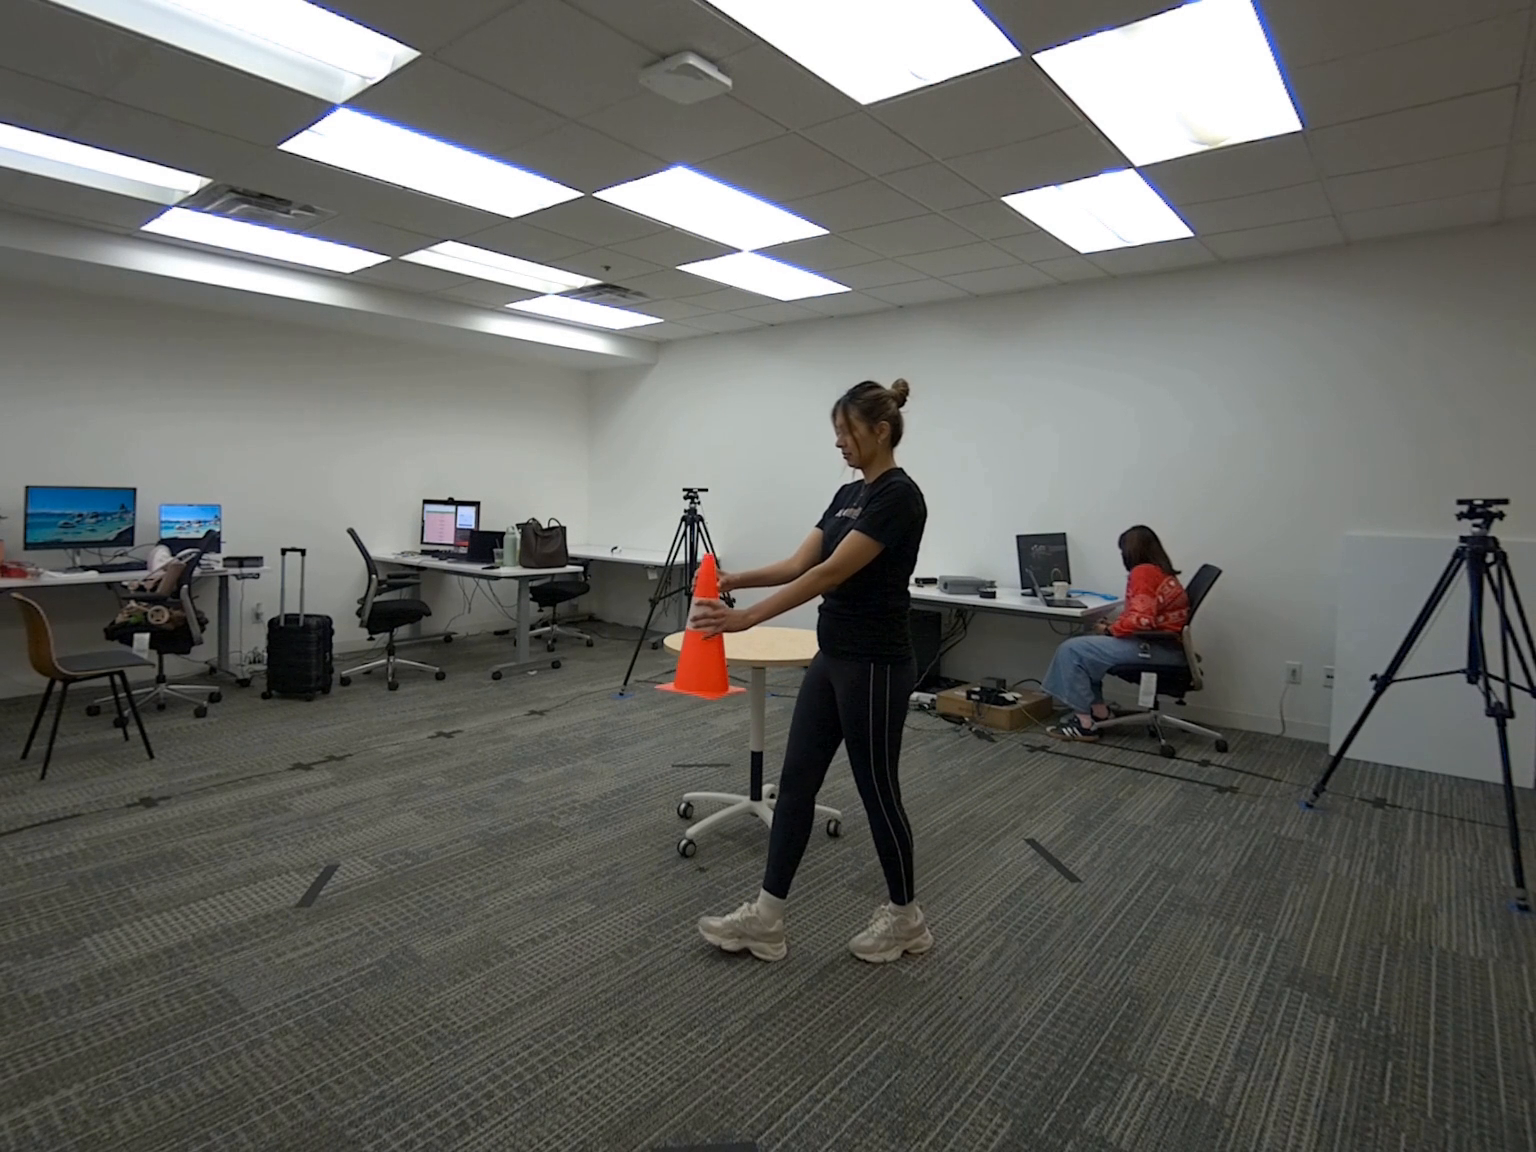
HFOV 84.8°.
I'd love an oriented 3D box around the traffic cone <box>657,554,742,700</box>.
[{"bbox_3d":[-0.186,0.127,2.406,0.198,0.384,0.210,3,-1,-26],"label":"traffic cone"}]
